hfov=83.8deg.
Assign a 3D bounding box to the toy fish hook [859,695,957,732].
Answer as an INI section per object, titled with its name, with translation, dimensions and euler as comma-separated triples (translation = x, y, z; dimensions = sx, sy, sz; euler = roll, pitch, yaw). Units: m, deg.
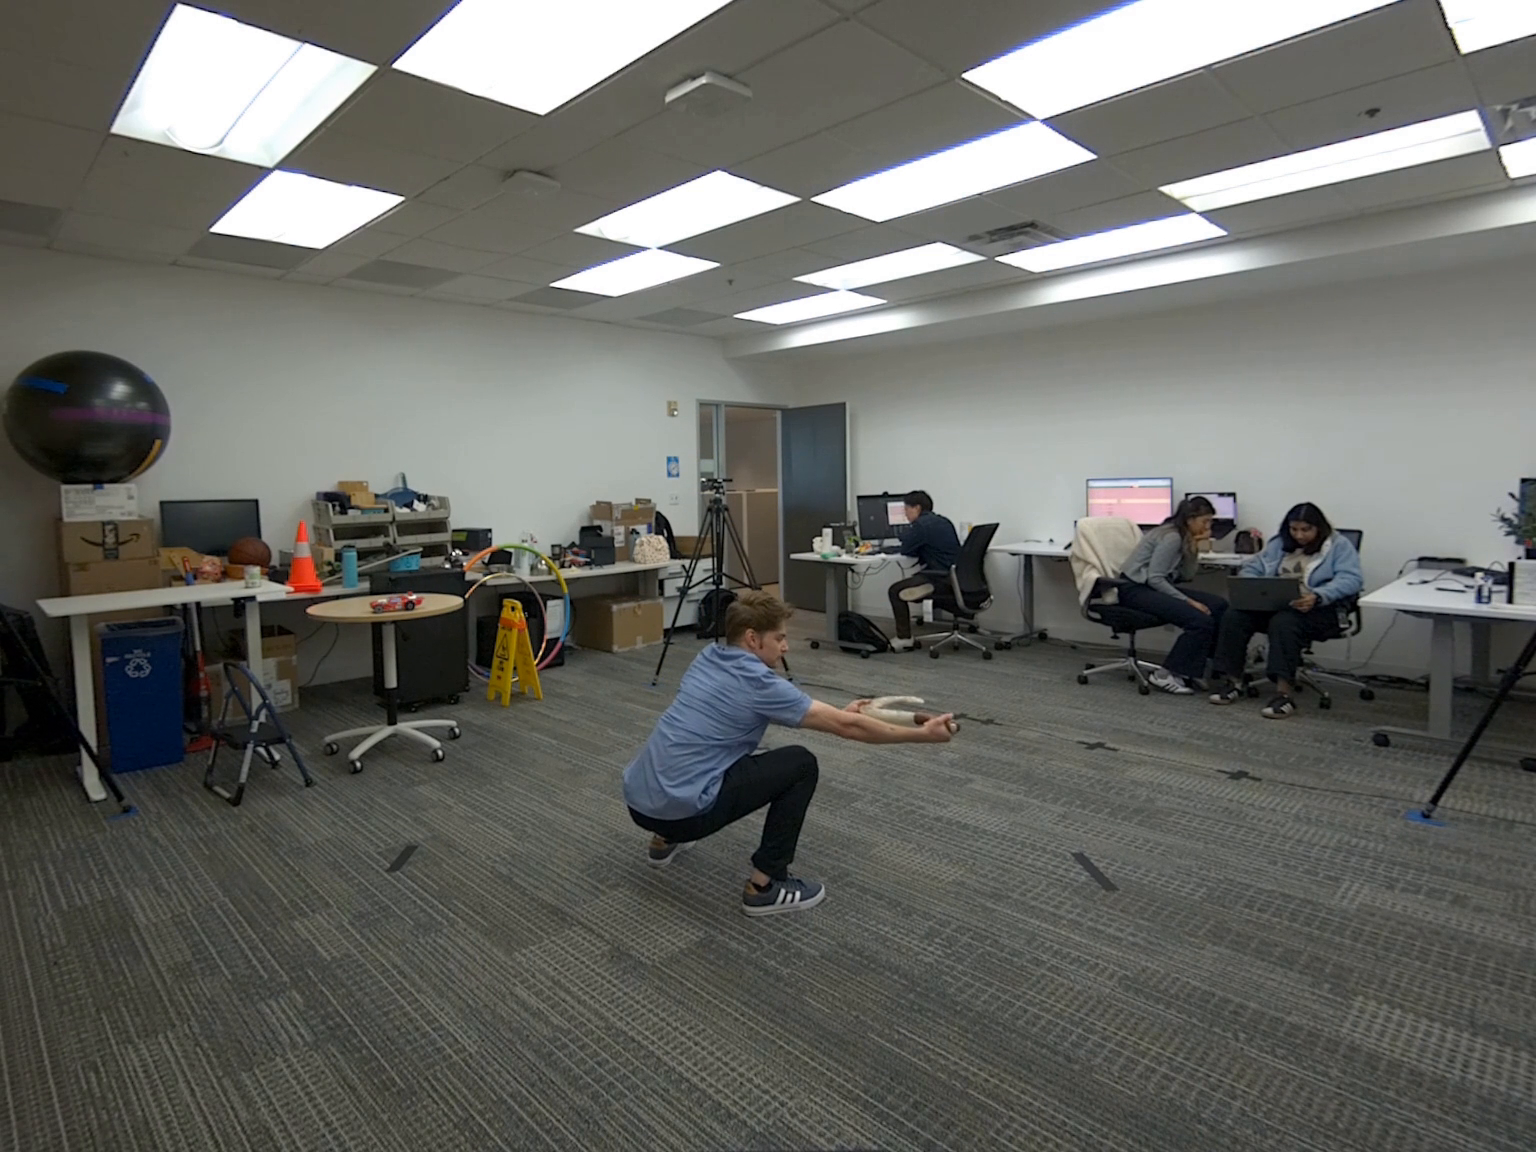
[toy fish hook]
translation = 0.522, 0.484, 3.054
dimensions = 0.221, 0.048, 0.519
euler = -20, 11, -30
